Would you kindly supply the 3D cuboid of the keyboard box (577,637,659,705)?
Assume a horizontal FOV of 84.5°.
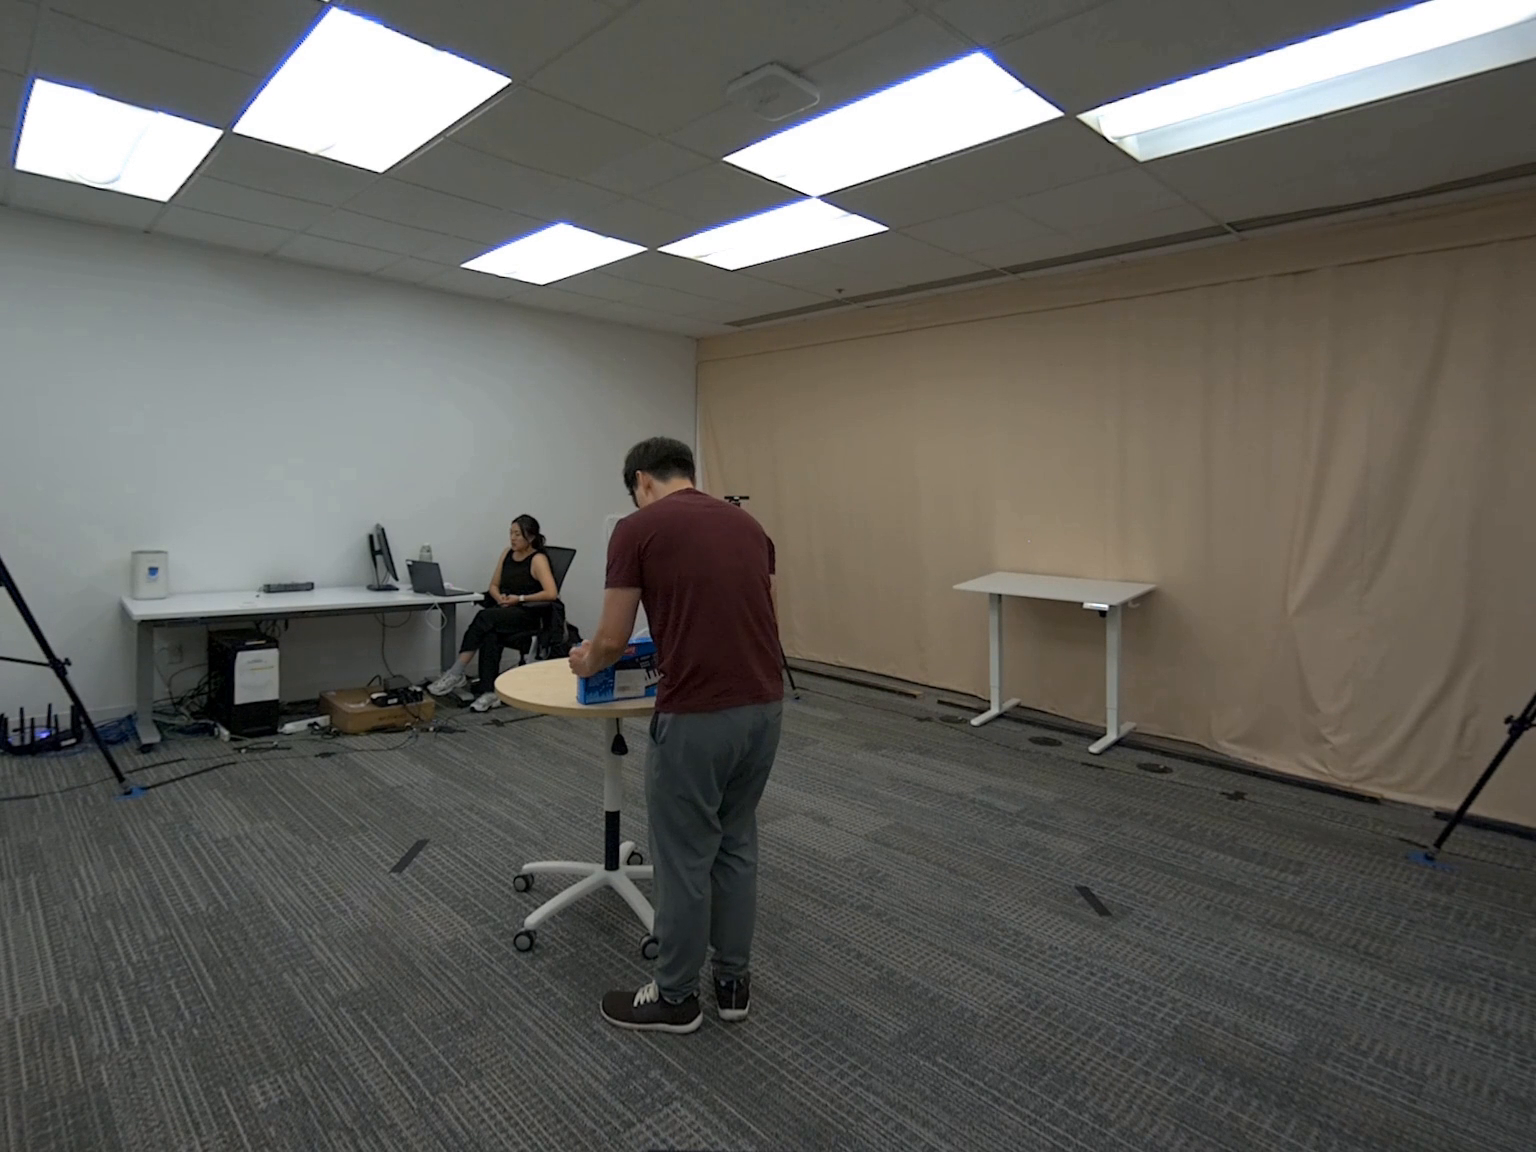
[{"bbox_3d":[-0.376,0.285,2.567,0.428,0.175,0.060,-2,6,-33],"label":"keyboard box"}]
